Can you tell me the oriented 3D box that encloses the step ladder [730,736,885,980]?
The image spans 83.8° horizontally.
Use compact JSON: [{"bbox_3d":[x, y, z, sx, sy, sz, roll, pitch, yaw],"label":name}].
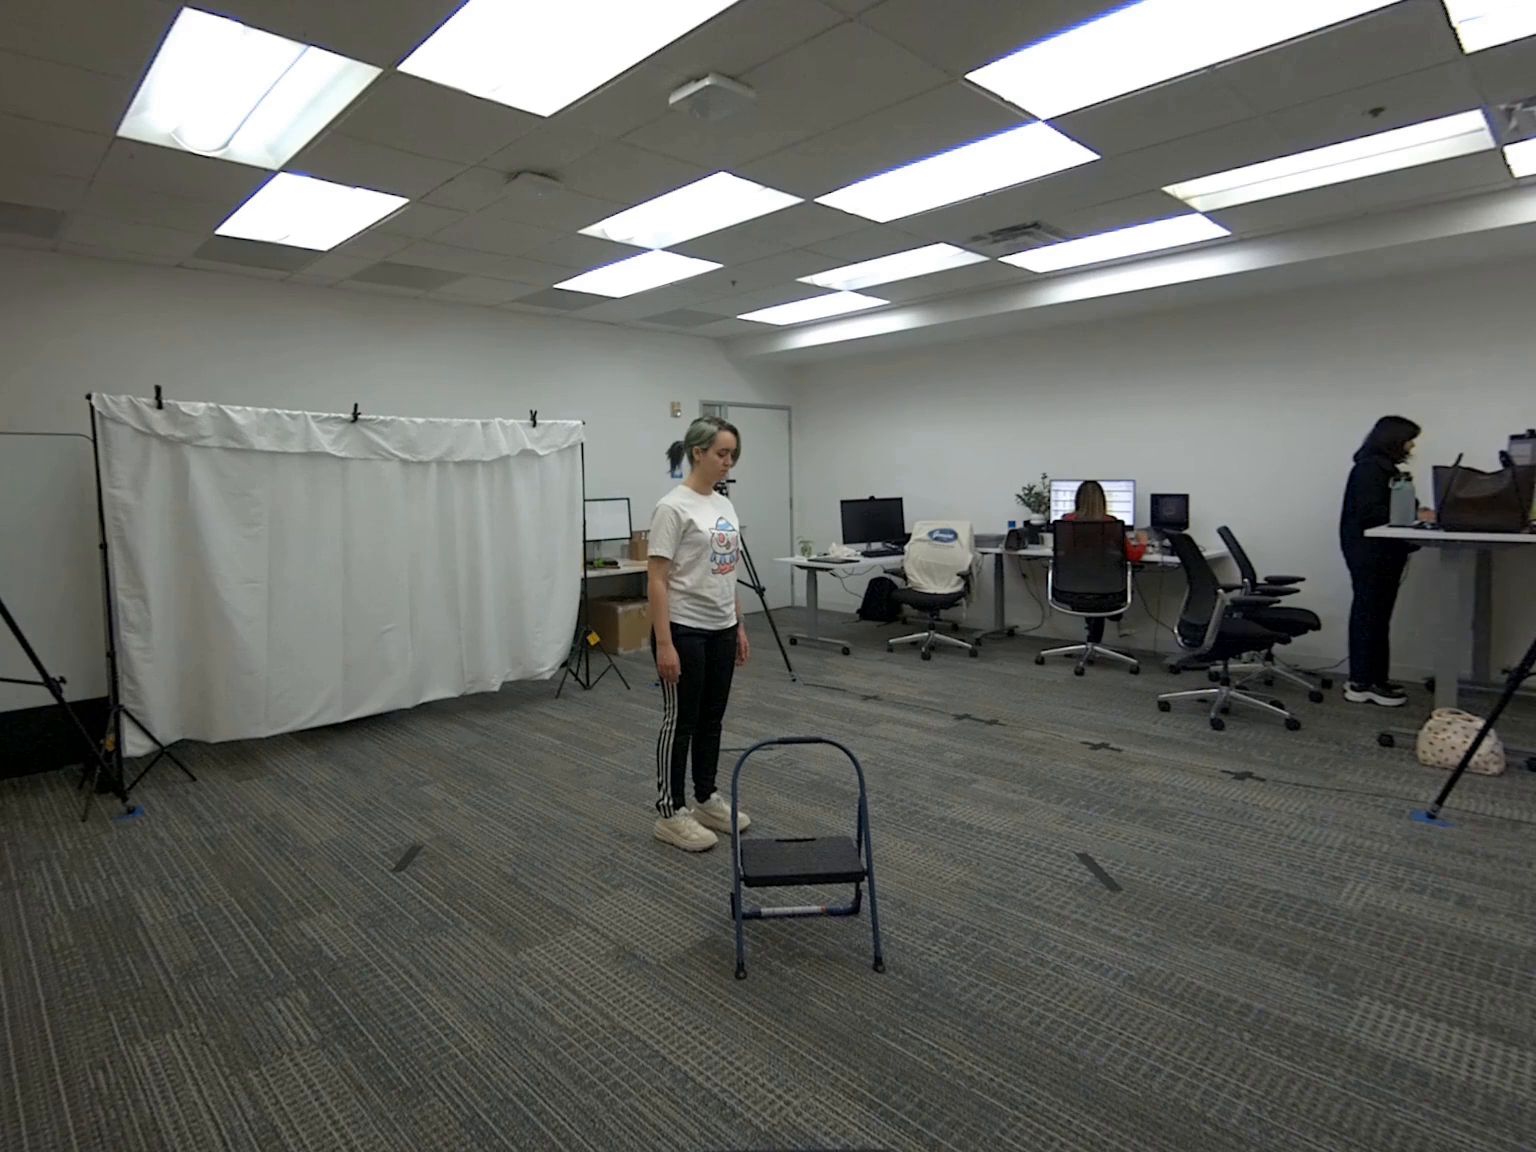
[{"bbox_3d":[0.103,0.805,2.560,0.429,0.604,0.352,-1,5,-4],"label":"step ladder"}]
